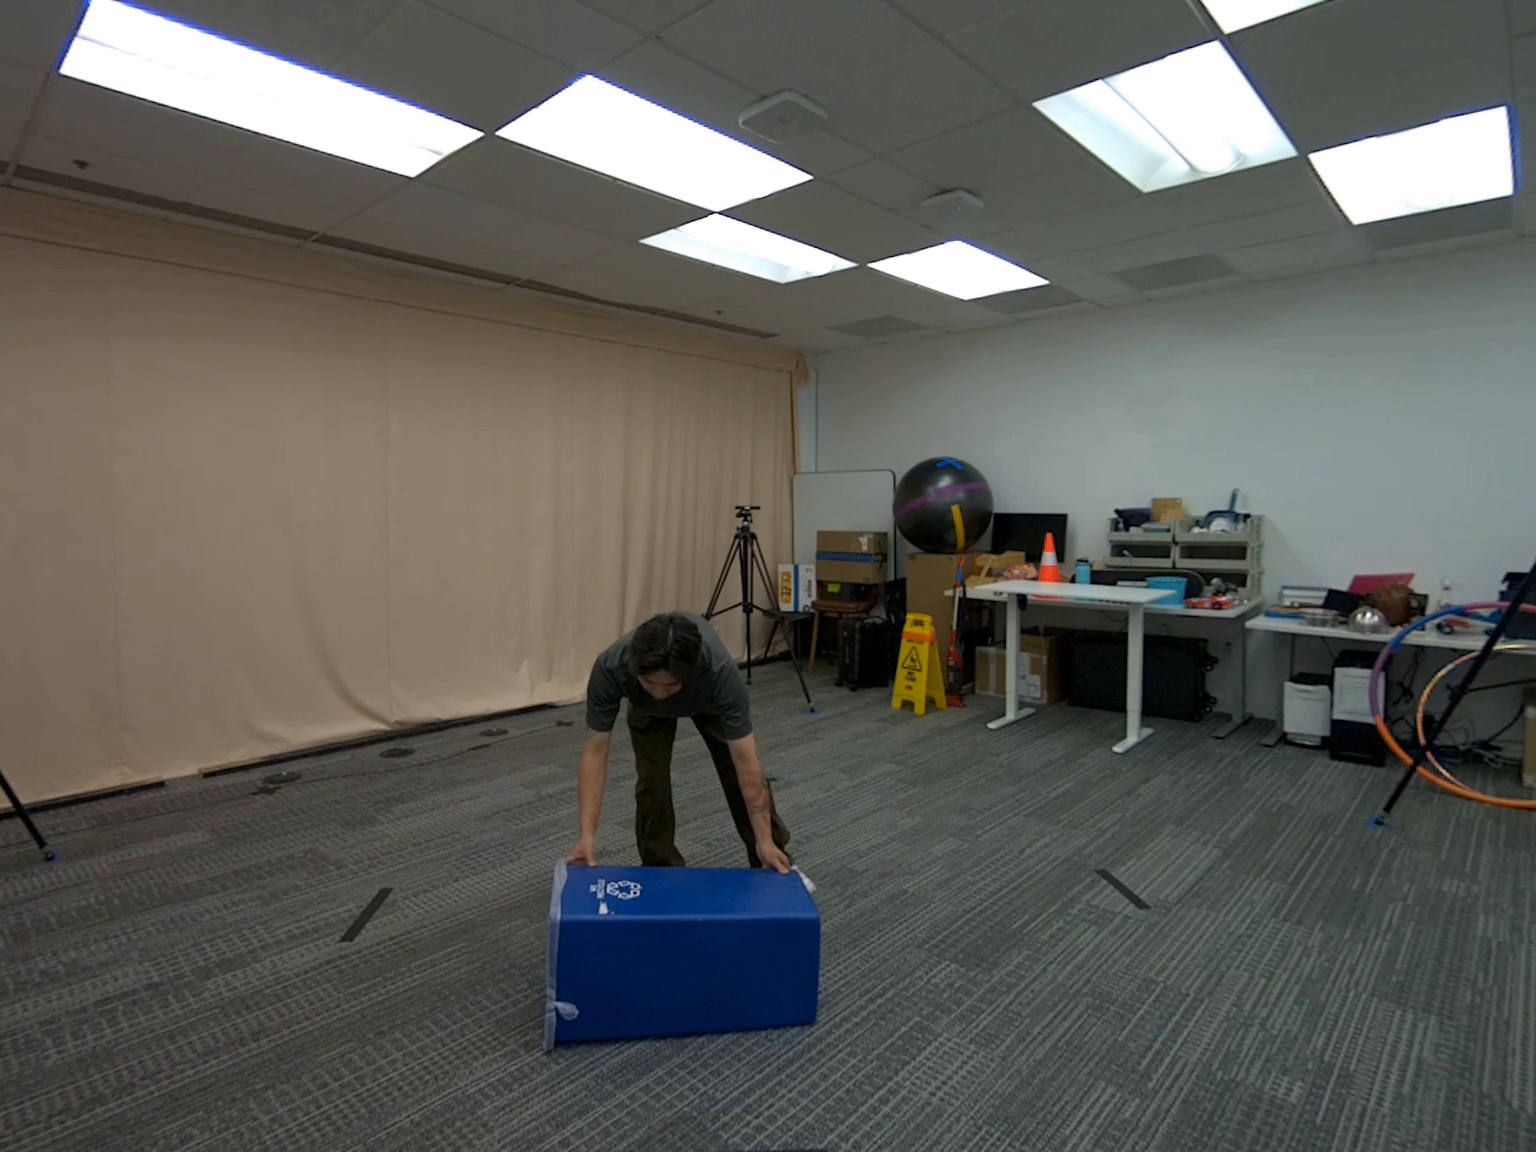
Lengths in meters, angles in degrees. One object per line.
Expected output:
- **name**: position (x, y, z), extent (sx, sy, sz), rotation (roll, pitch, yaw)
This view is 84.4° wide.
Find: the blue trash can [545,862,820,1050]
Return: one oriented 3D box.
- **blue trash can**: position (-0.238, 1.022, 2.350), extent (0.707, 0.374, 0.382), rotation (1, 2, -9)
